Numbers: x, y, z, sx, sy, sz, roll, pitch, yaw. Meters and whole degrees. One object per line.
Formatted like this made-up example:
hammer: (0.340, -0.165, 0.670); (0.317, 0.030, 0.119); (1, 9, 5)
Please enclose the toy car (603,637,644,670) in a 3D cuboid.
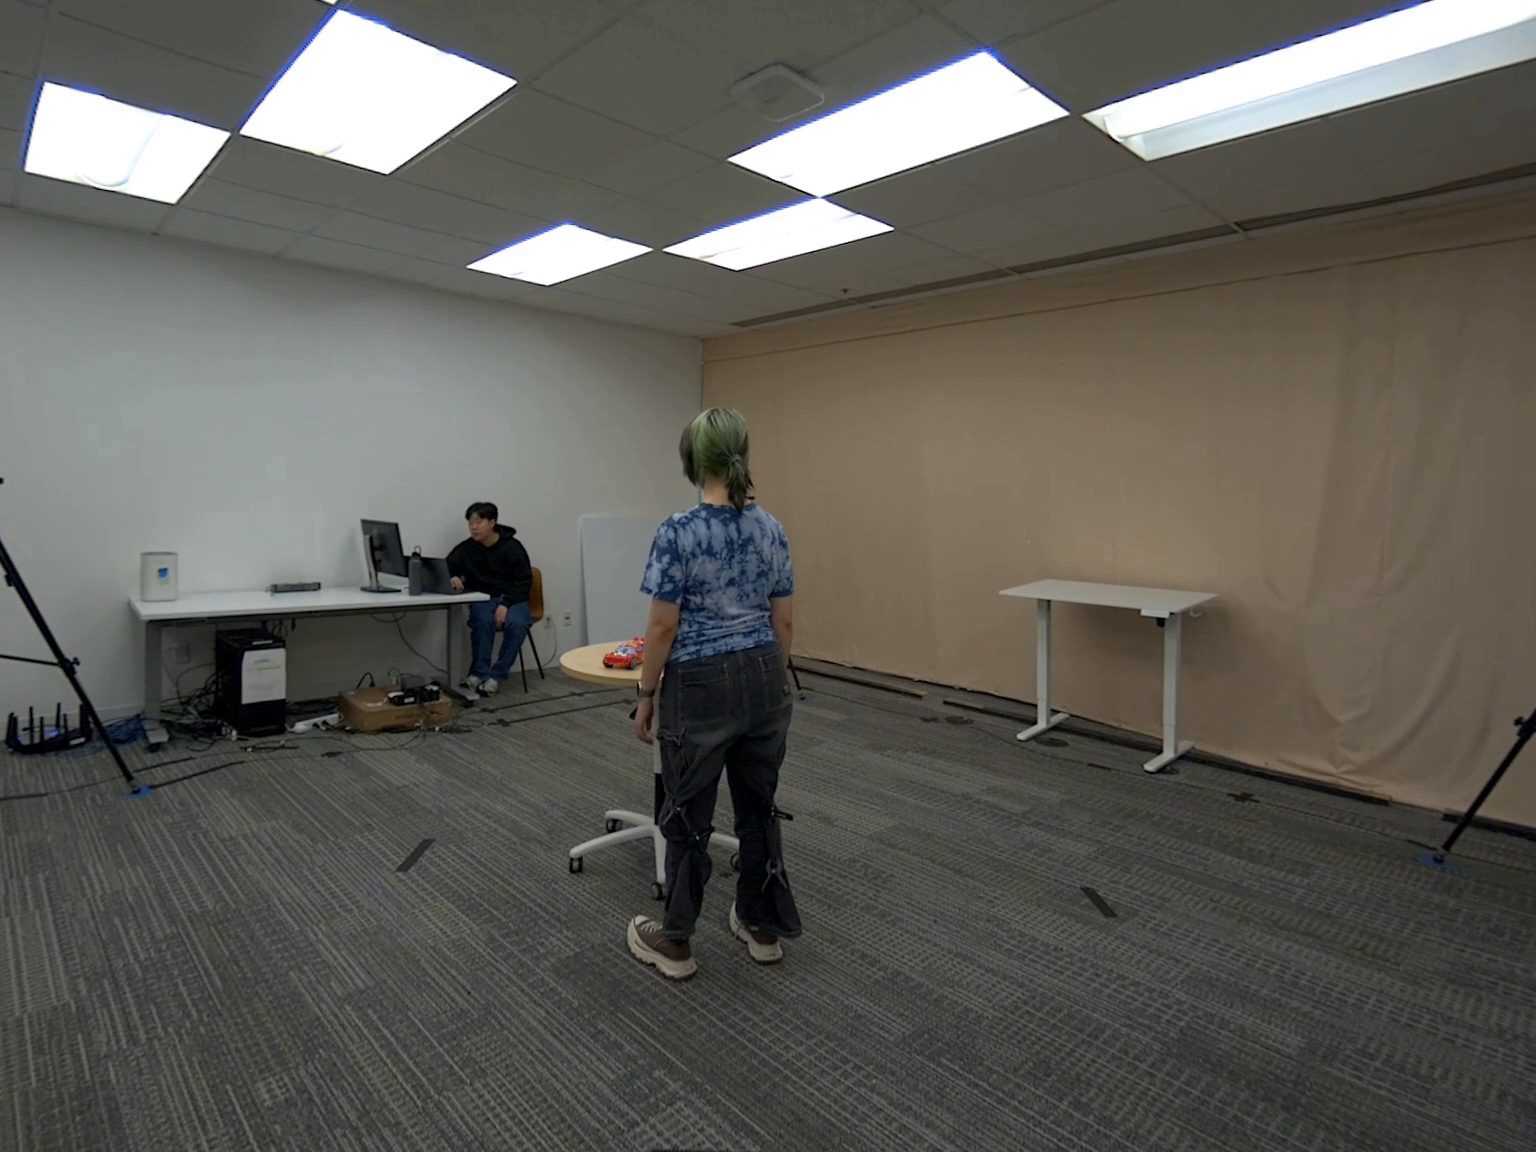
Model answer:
toy car: (-0.504, 0.288, 3.056); (0.132, 0.082, 0.254); (2, 17, 18)
